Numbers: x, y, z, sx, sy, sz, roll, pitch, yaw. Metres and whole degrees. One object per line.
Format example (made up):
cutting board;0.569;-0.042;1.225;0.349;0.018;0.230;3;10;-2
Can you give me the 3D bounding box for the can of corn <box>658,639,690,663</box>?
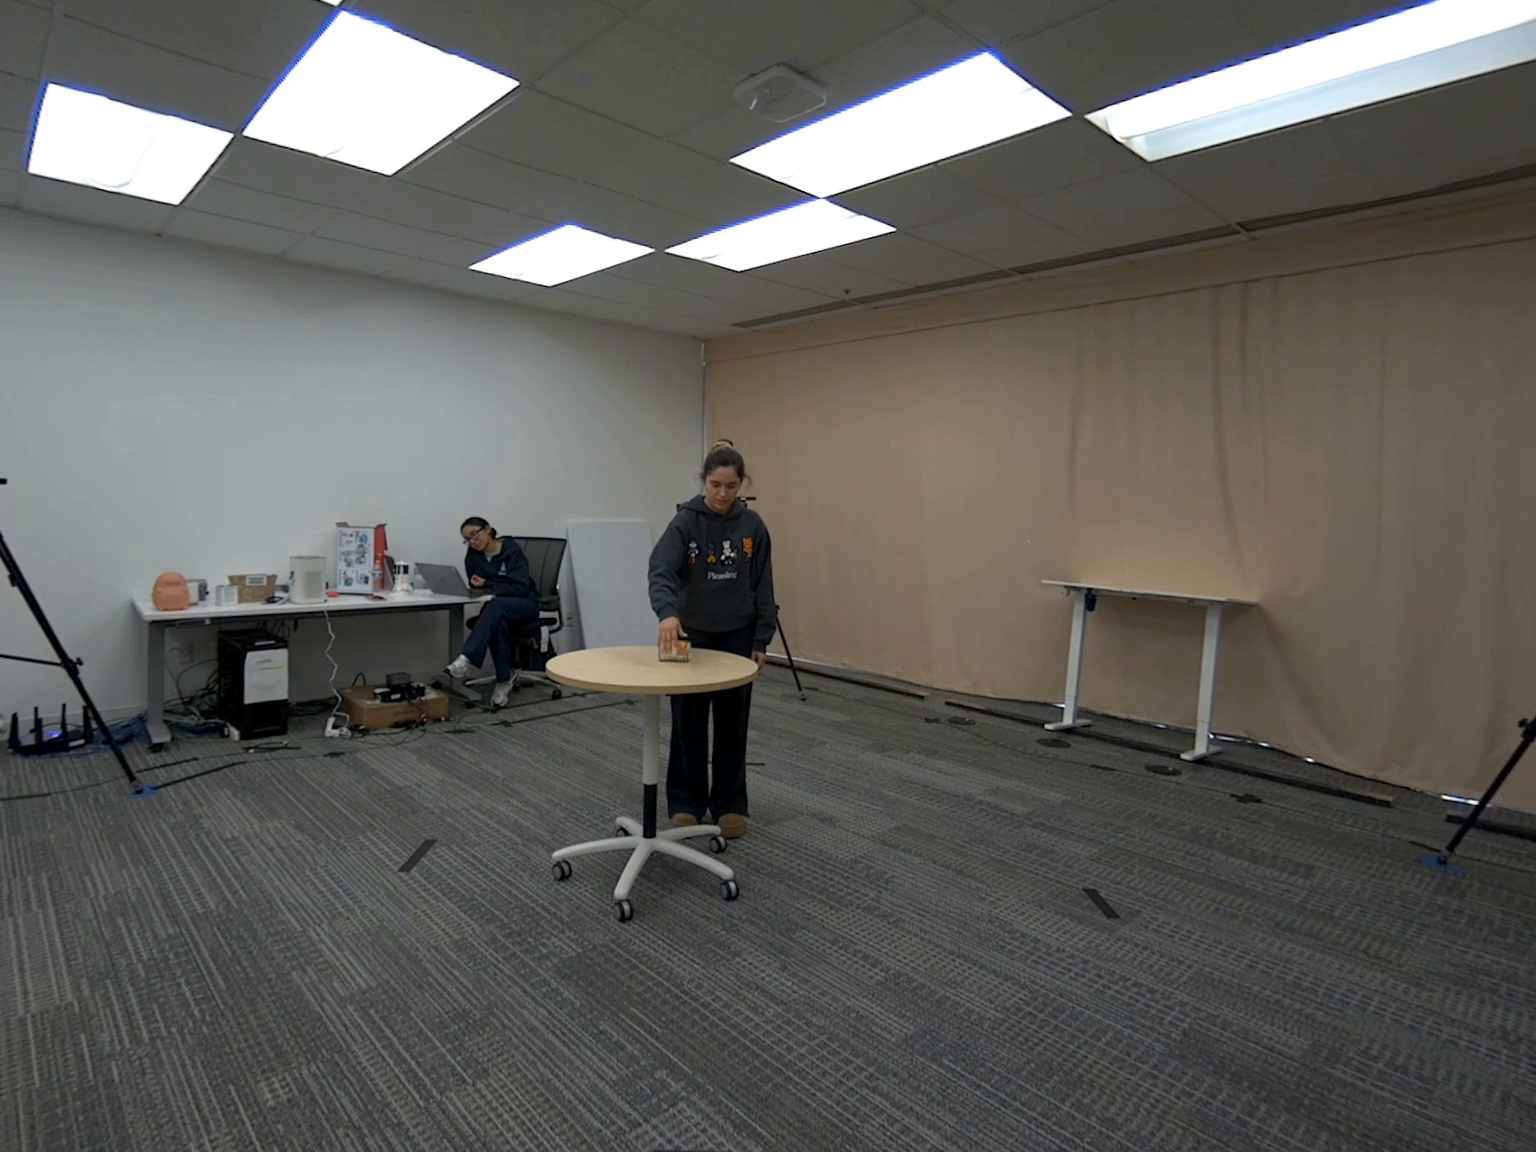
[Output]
can of corn;-0.364;0.280;3.139;0.111;0.074;0.074;3;5;3
